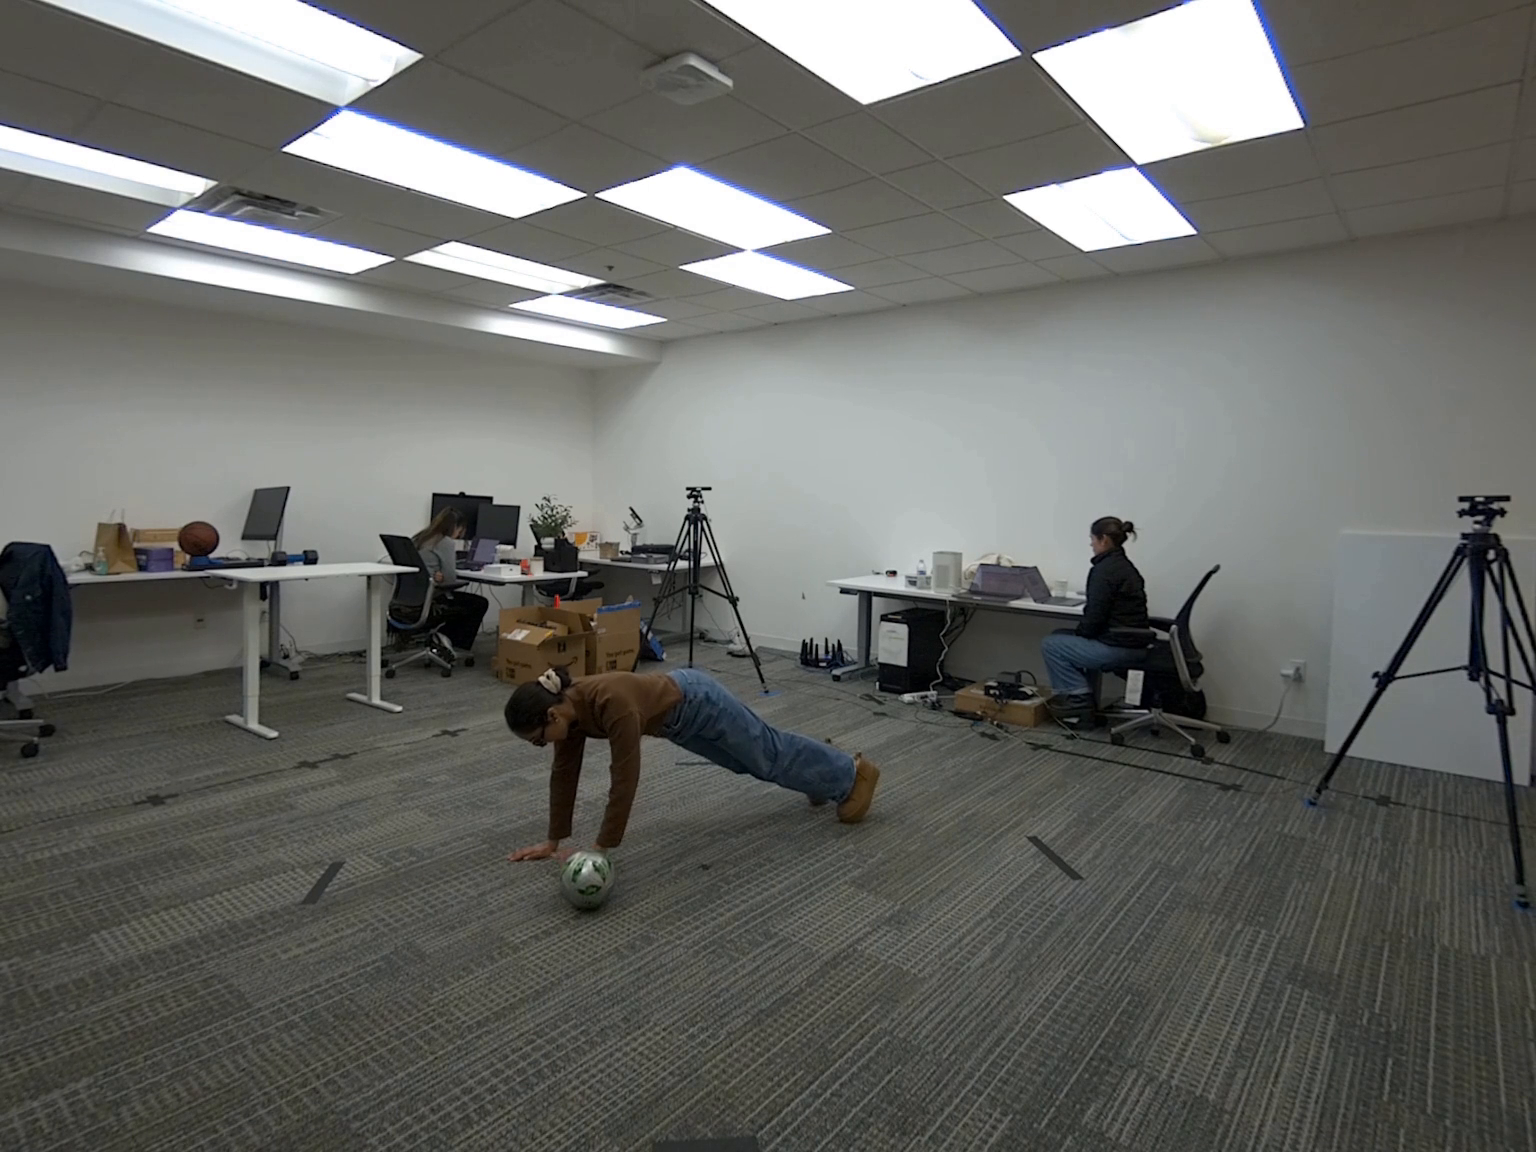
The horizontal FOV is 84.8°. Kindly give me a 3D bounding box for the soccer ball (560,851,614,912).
[{"bbox_3d":[-0.606,0.997,2.808,0.187,0.187,0.188,1,4,-2],"label":"soccer ball"}]
